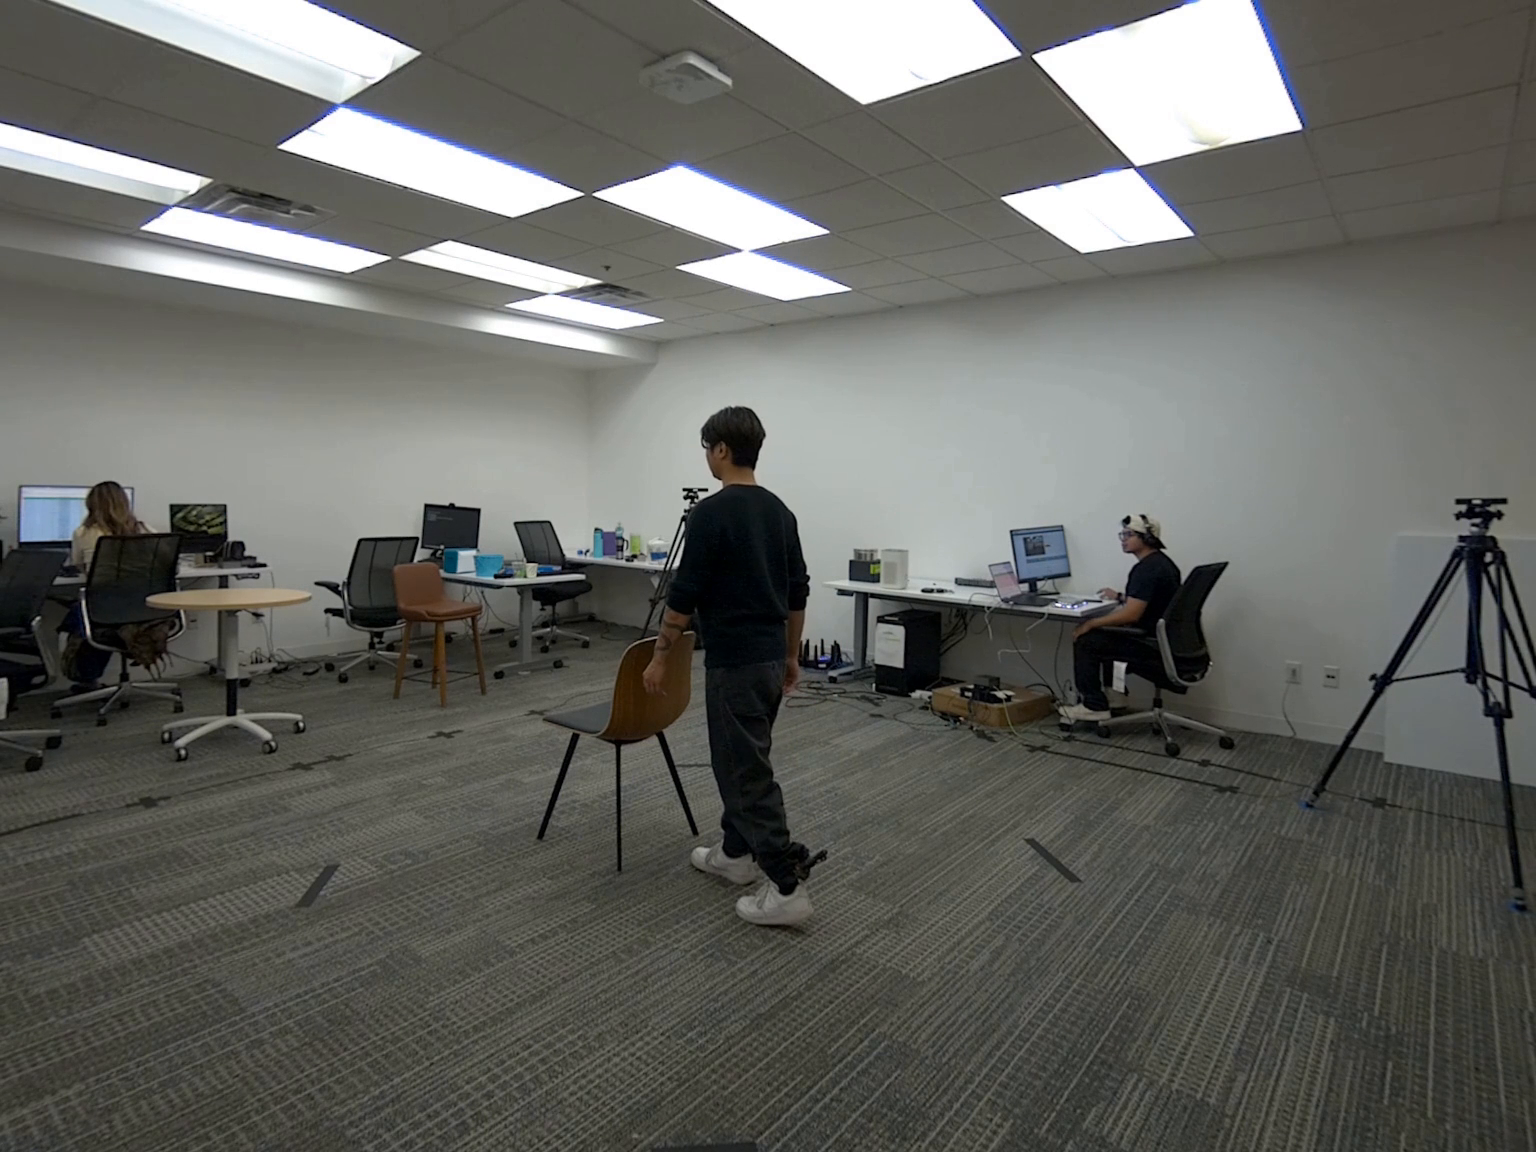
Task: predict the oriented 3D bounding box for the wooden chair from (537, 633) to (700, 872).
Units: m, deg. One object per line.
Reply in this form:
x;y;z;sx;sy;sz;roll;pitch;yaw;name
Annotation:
-0.606;0.612;3.364;0.541;0.873;0.464;9;7;36;wooden chair
